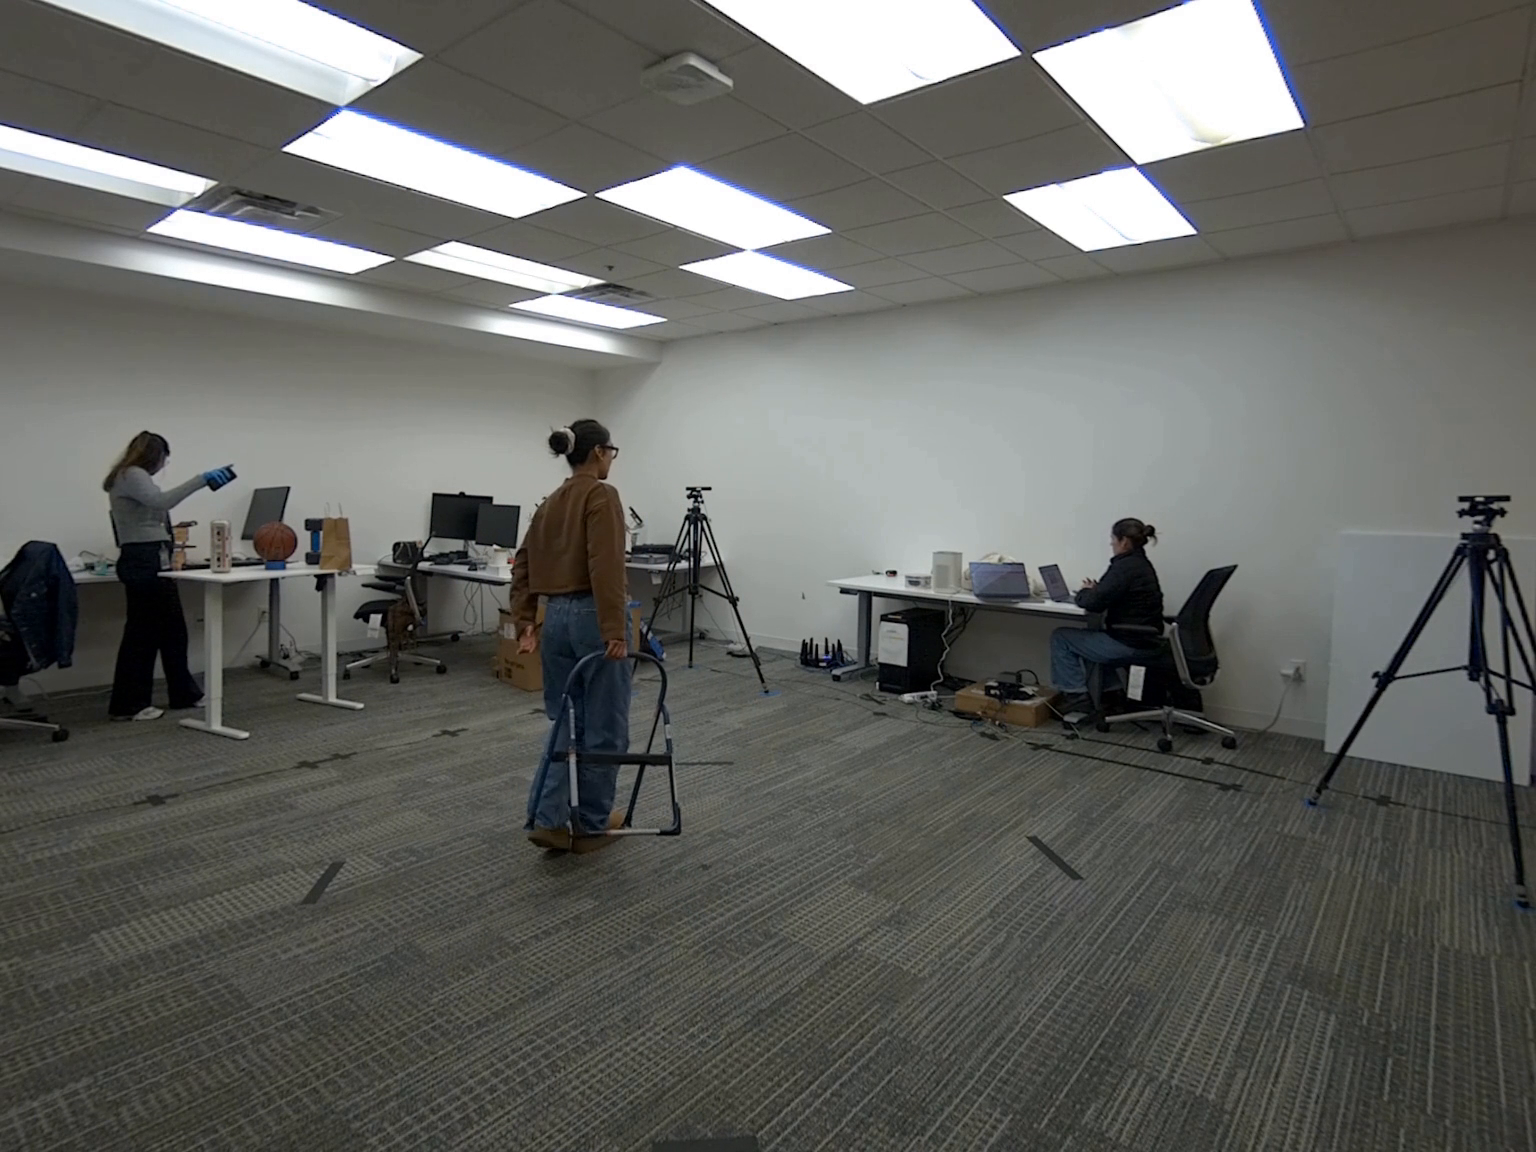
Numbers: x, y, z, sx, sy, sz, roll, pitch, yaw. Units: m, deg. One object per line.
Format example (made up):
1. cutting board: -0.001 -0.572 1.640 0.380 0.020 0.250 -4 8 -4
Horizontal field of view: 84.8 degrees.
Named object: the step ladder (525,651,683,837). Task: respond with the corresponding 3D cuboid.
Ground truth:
1. step ladder: -0.563 0.568 2.945 0.415 0.613 0.358 13 -17 -40
